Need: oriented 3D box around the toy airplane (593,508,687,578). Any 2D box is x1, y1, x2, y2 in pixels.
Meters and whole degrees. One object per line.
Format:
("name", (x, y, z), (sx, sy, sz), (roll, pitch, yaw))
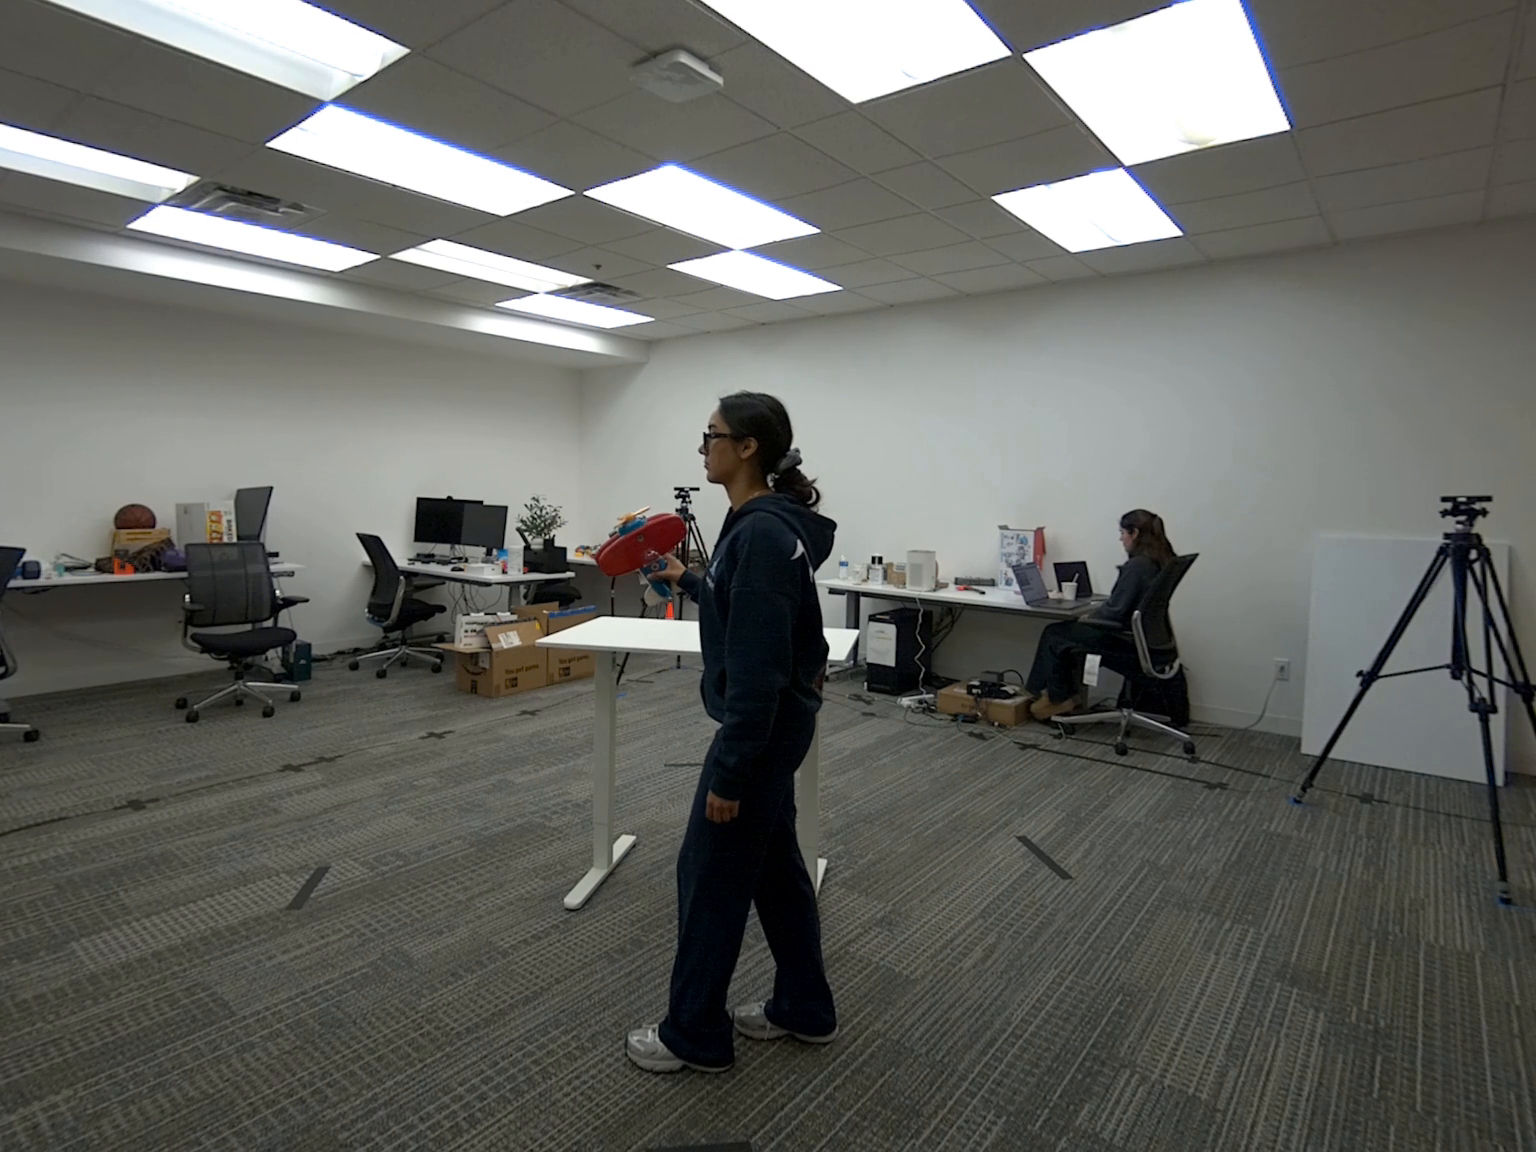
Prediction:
("toy airplane", (-0.325, -0.066, 2.358), (0.258, 0.251, 0.157), (33, -10, -3))
